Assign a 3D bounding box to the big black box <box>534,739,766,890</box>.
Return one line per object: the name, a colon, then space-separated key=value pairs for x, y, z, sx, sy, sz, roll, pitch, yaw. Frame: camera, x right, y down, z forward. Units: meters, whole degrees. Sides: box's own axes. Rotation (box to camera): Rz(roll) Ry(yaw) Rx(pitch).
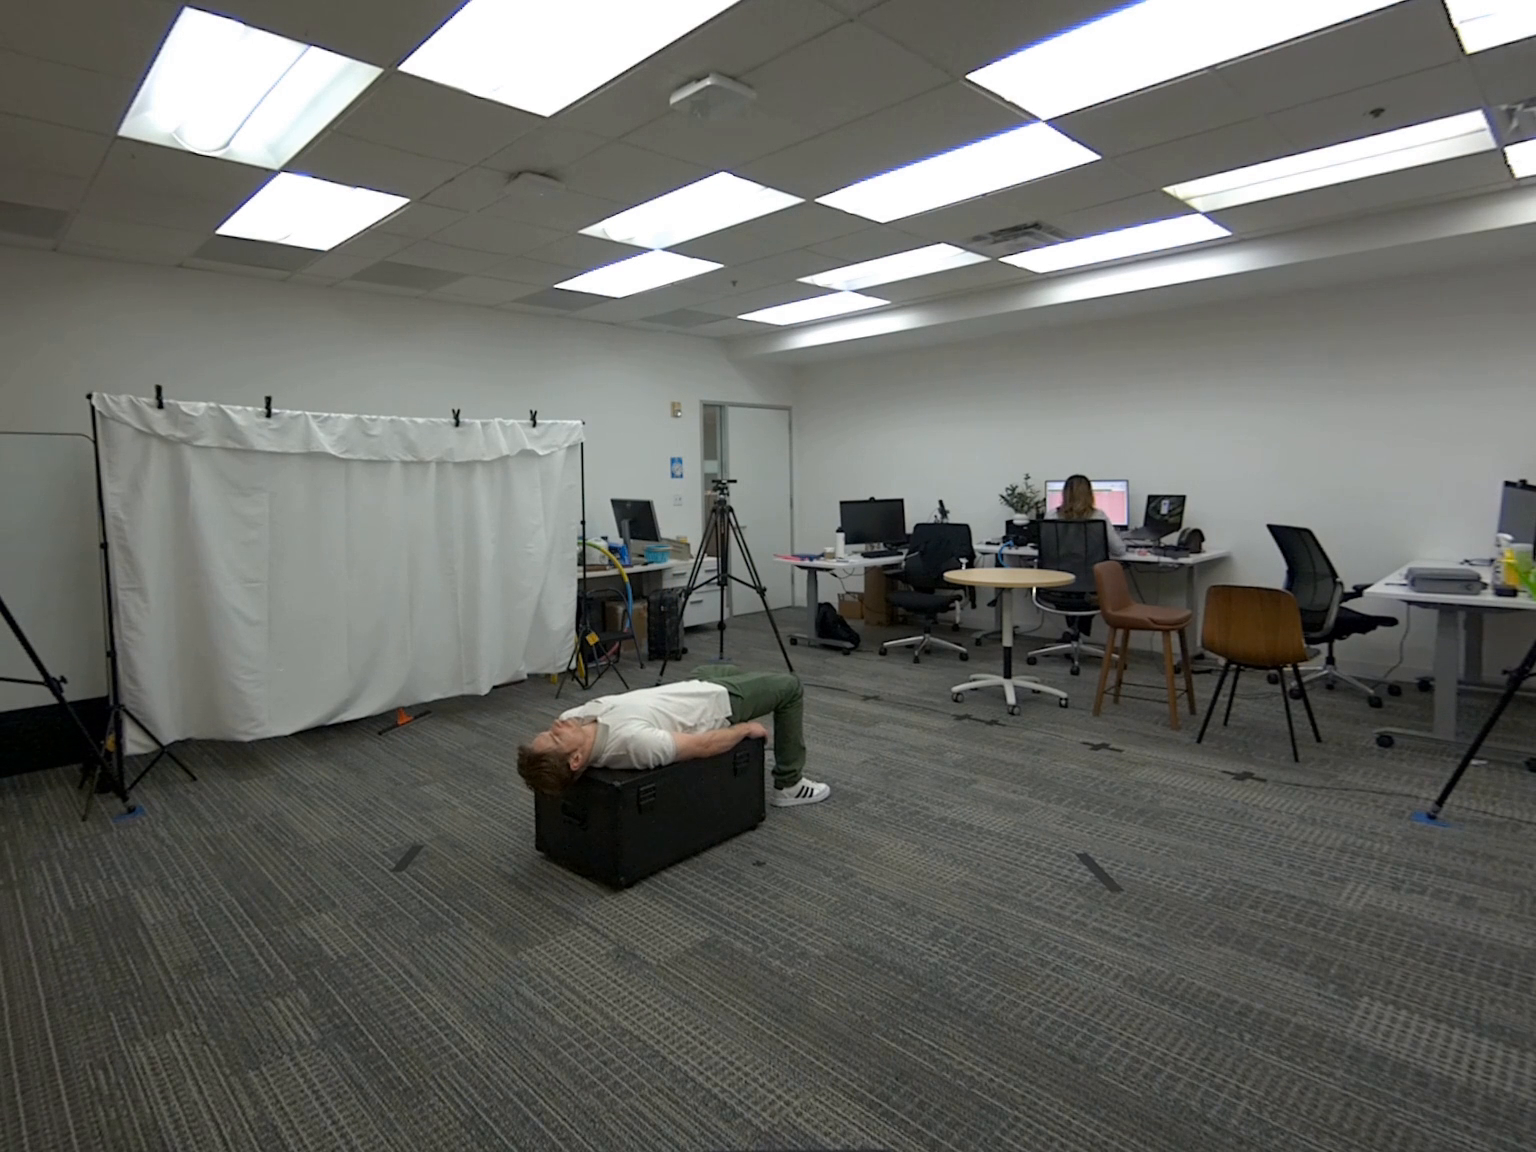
big black box: x=-0.414 y=0.840 z=3.343 sx=0.539 sy=0.384 sz=0.846 roll=2 pitch=6 yaw=41
